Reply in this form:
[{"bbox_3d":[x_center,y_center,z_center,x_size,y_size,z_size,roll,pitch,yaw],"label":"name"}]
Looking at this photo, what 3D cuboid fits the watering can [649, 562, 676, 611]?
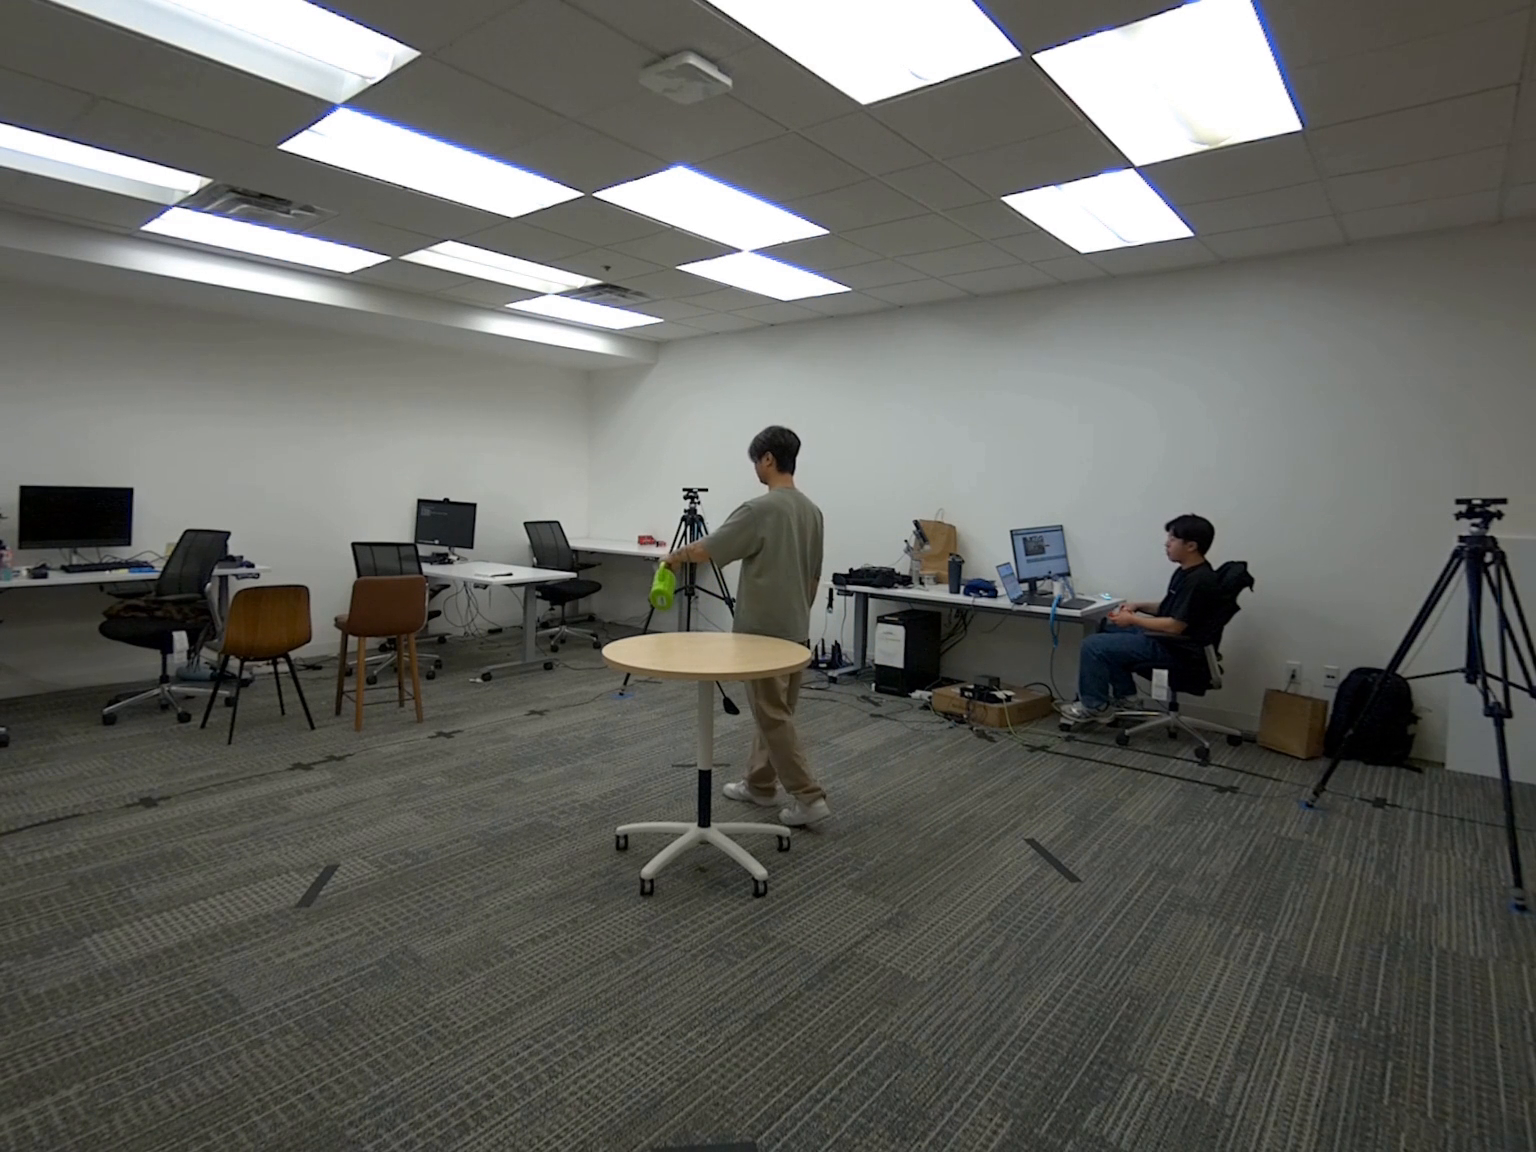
[{"bbox_3d":[-0.455,0.067,3.717,0.099,0.268,0.181,-7,45,14],"label":"watering can"}]
